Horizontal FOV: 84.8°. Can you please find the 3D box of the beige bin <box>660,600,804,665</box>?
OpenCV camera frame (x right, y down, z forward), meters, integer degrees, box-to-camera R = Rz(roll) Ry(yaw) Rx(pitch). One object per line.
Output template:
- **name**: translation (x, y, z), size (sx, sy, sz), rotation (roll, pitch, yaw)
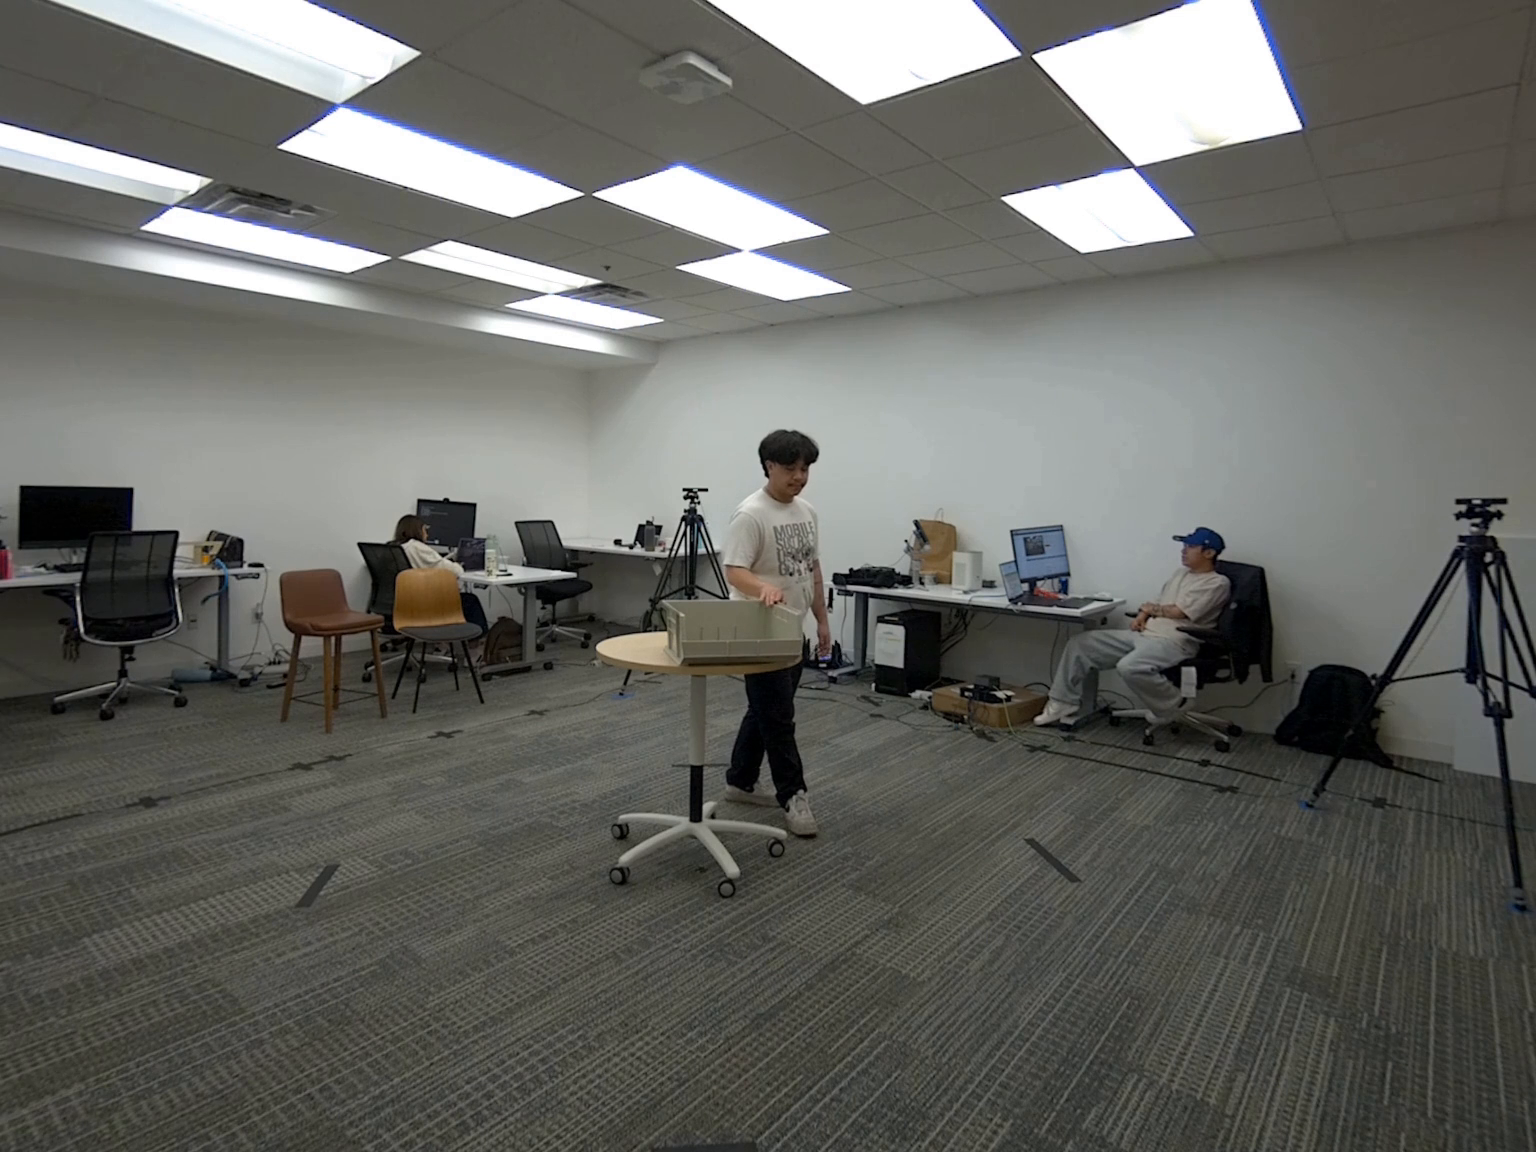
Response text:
- **beige bin**: translation (-0.143, 0.194, 2.979), size (0.415, 0.188, 0.384), rotation (0, 3, -17)
